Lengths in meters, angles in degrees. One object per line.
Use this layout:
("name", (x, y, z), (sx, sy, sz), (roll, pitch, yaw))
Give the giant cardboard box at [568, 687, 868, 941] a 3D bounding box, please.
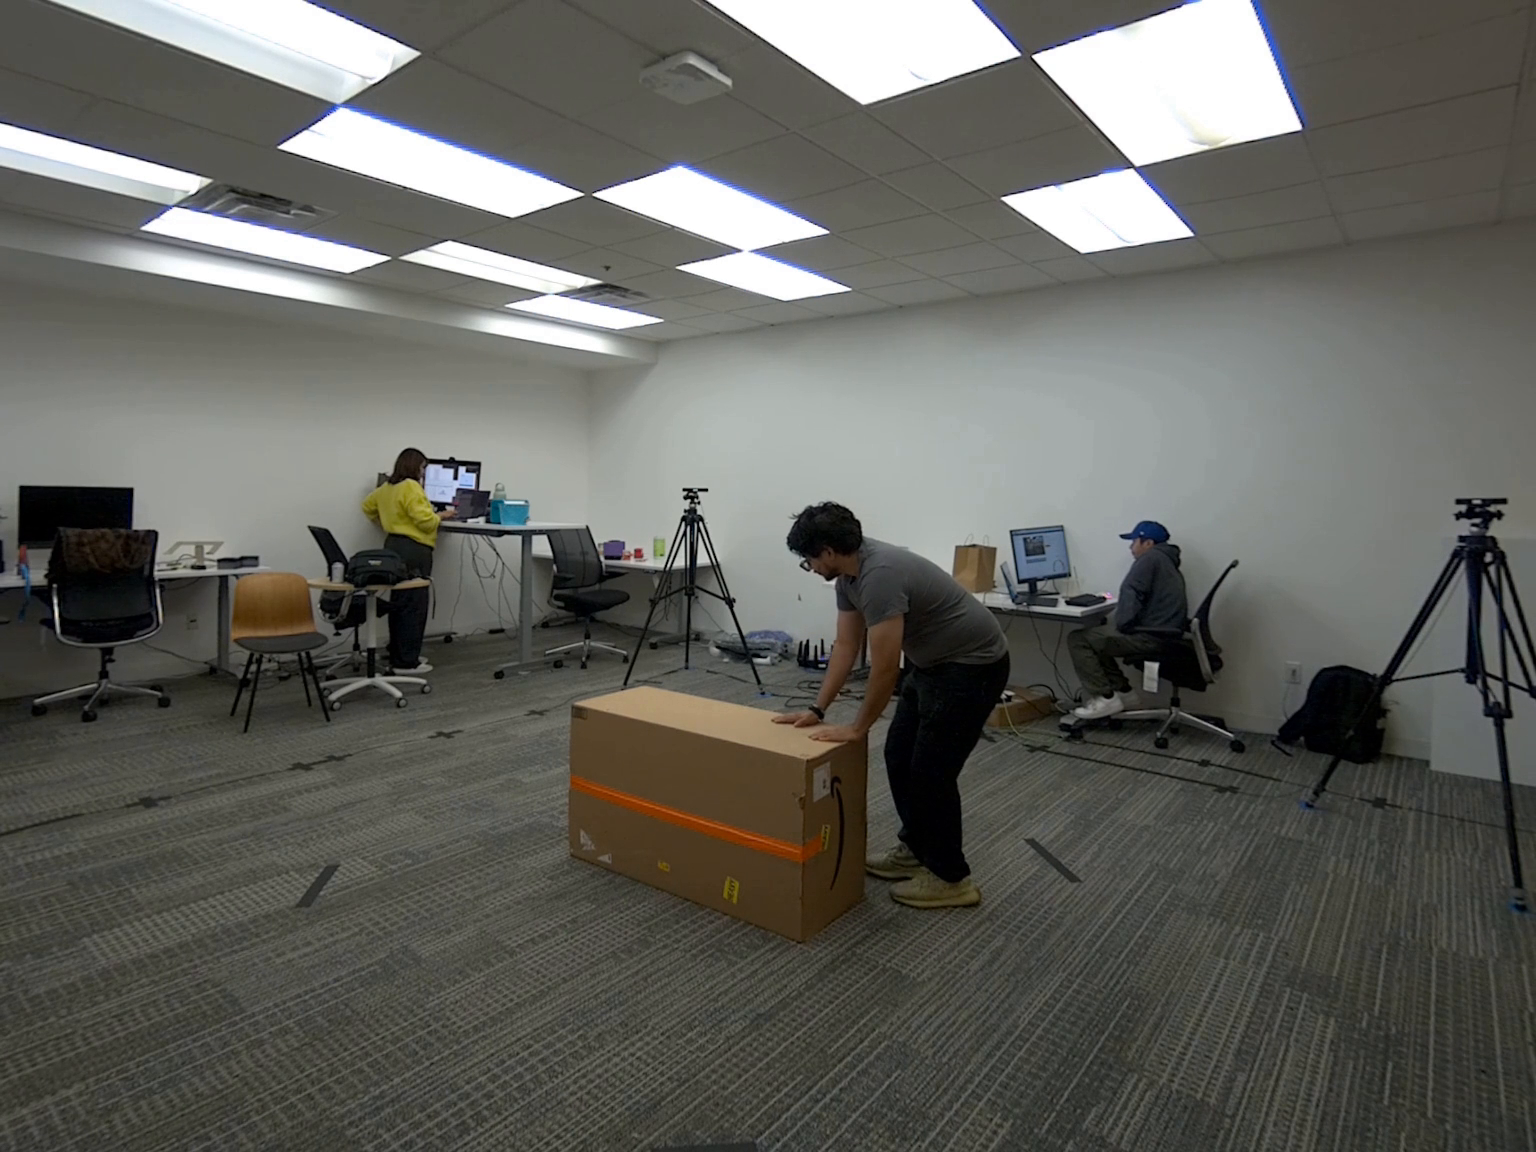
("giant cardboard box", (-0.218, 0.786, 3.058), (1.059, 0.576, 0.414), (5, 5, 35))
